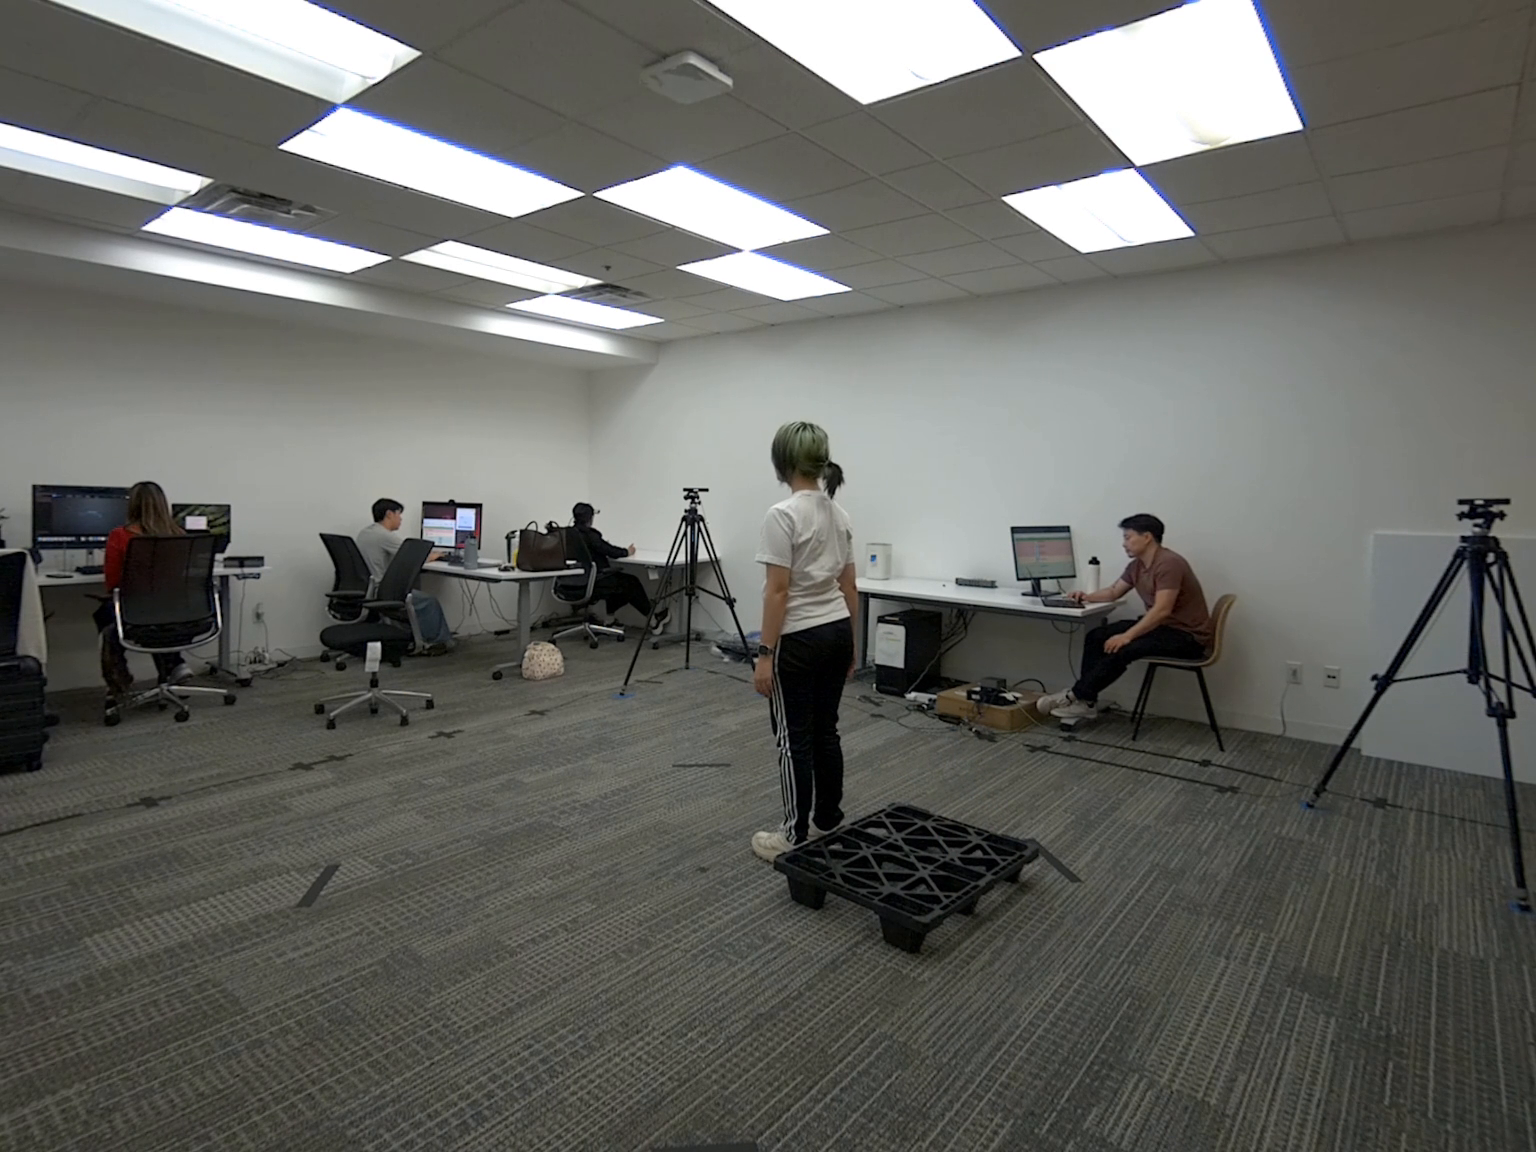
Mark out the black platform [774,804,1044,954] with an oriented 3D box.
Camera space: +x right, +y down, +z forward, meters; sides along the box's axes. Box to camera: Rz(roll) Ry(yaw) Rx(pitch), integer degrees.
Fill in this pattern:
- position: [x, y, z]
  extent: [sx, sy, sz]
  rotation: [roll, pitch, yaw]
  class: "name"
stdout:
- position: [0.483, 1.029, 2.987]
  extent: [0.626, 0.143, 0.781]
  rotation: [6, 7, 42]
  class: "black platform"
